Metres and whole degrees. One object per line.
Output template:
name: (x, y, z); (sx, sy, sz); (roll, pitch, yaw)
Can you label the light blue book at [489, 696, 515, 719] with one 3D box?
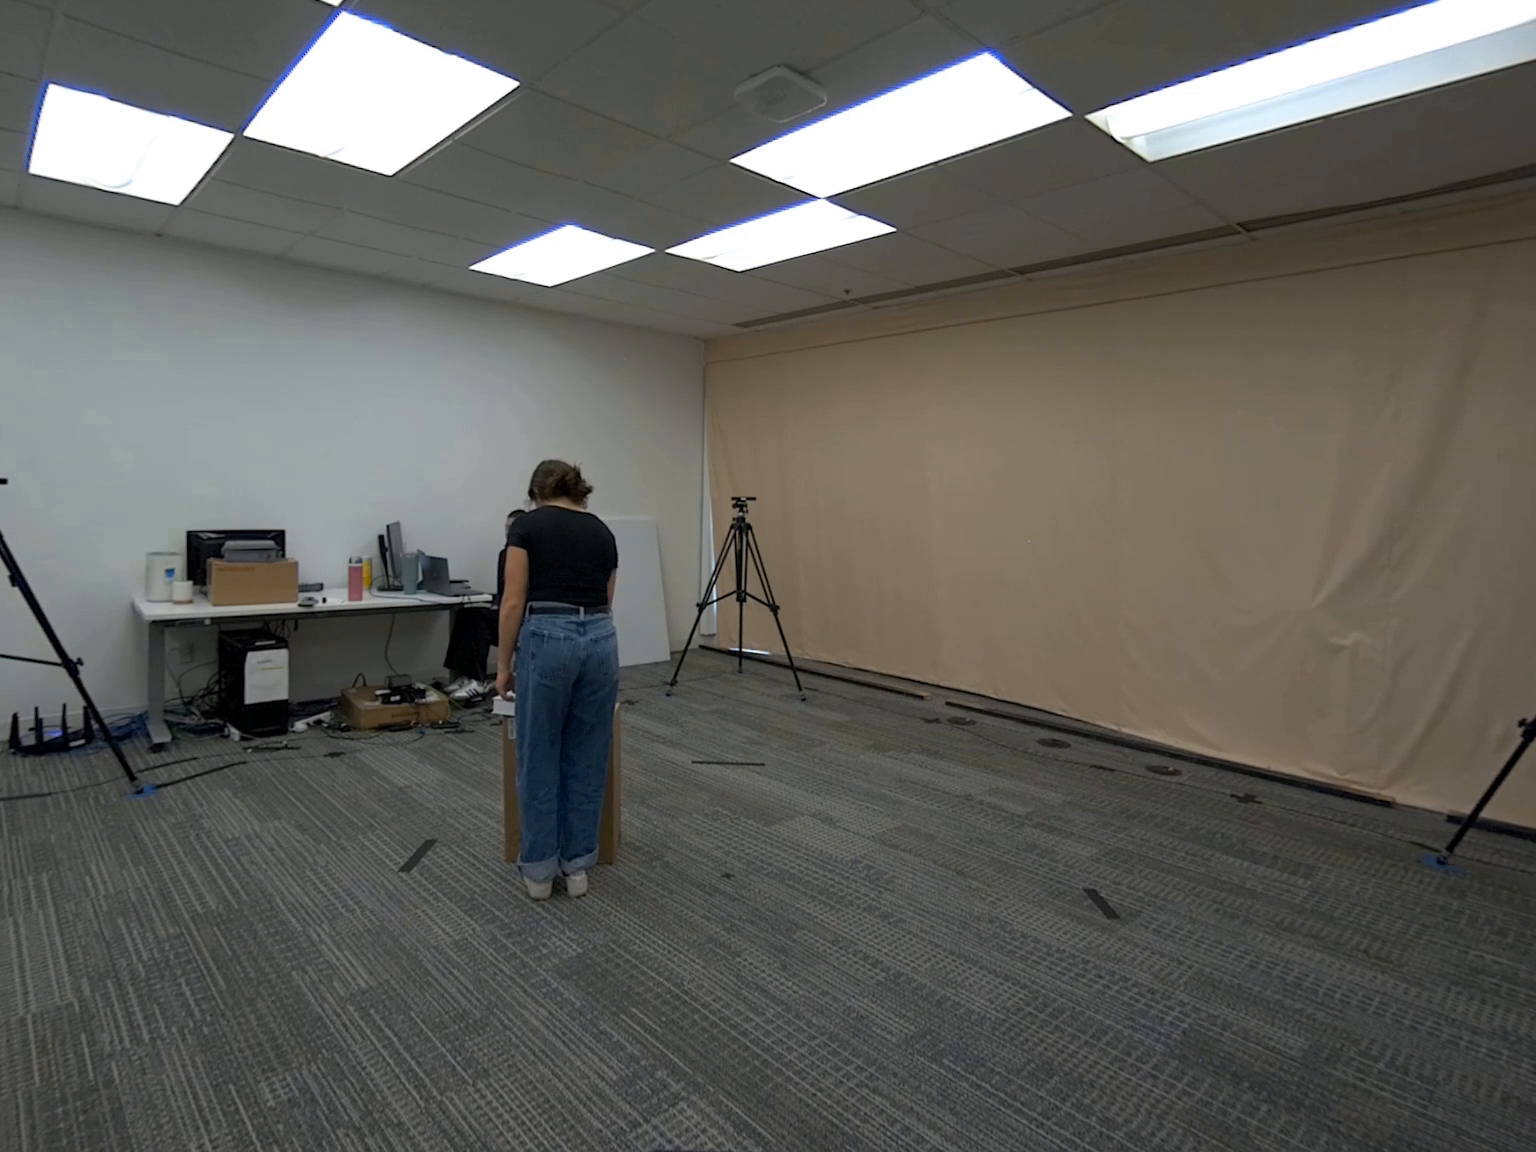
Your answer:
light blue book: (-0.917, 0.486, 3.248); (0.193, 0.059, 0.259); (3, 4, 13)
